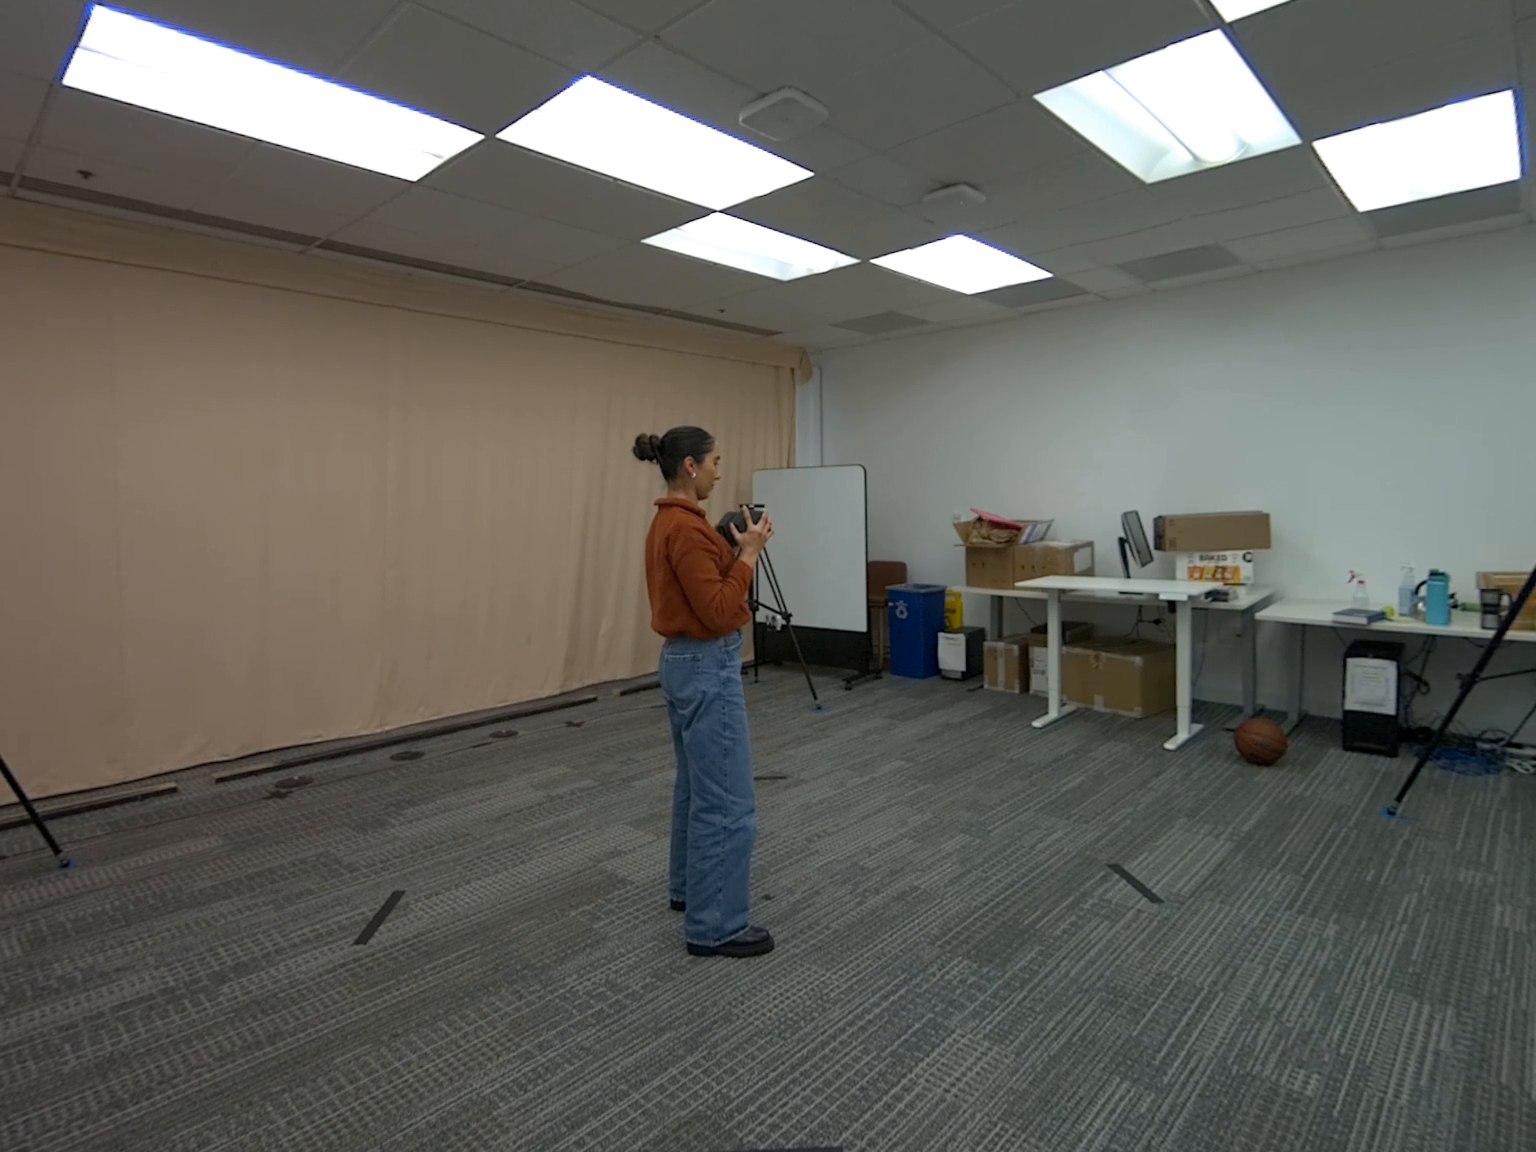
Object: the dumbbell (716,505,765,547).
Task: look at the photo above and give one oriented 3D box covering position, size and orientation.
[{"bbox_3d":[-0.083,-0.166,2.740,0.108,0.122,0.298,-28,10,-12],"label":"dumbbell"}]
